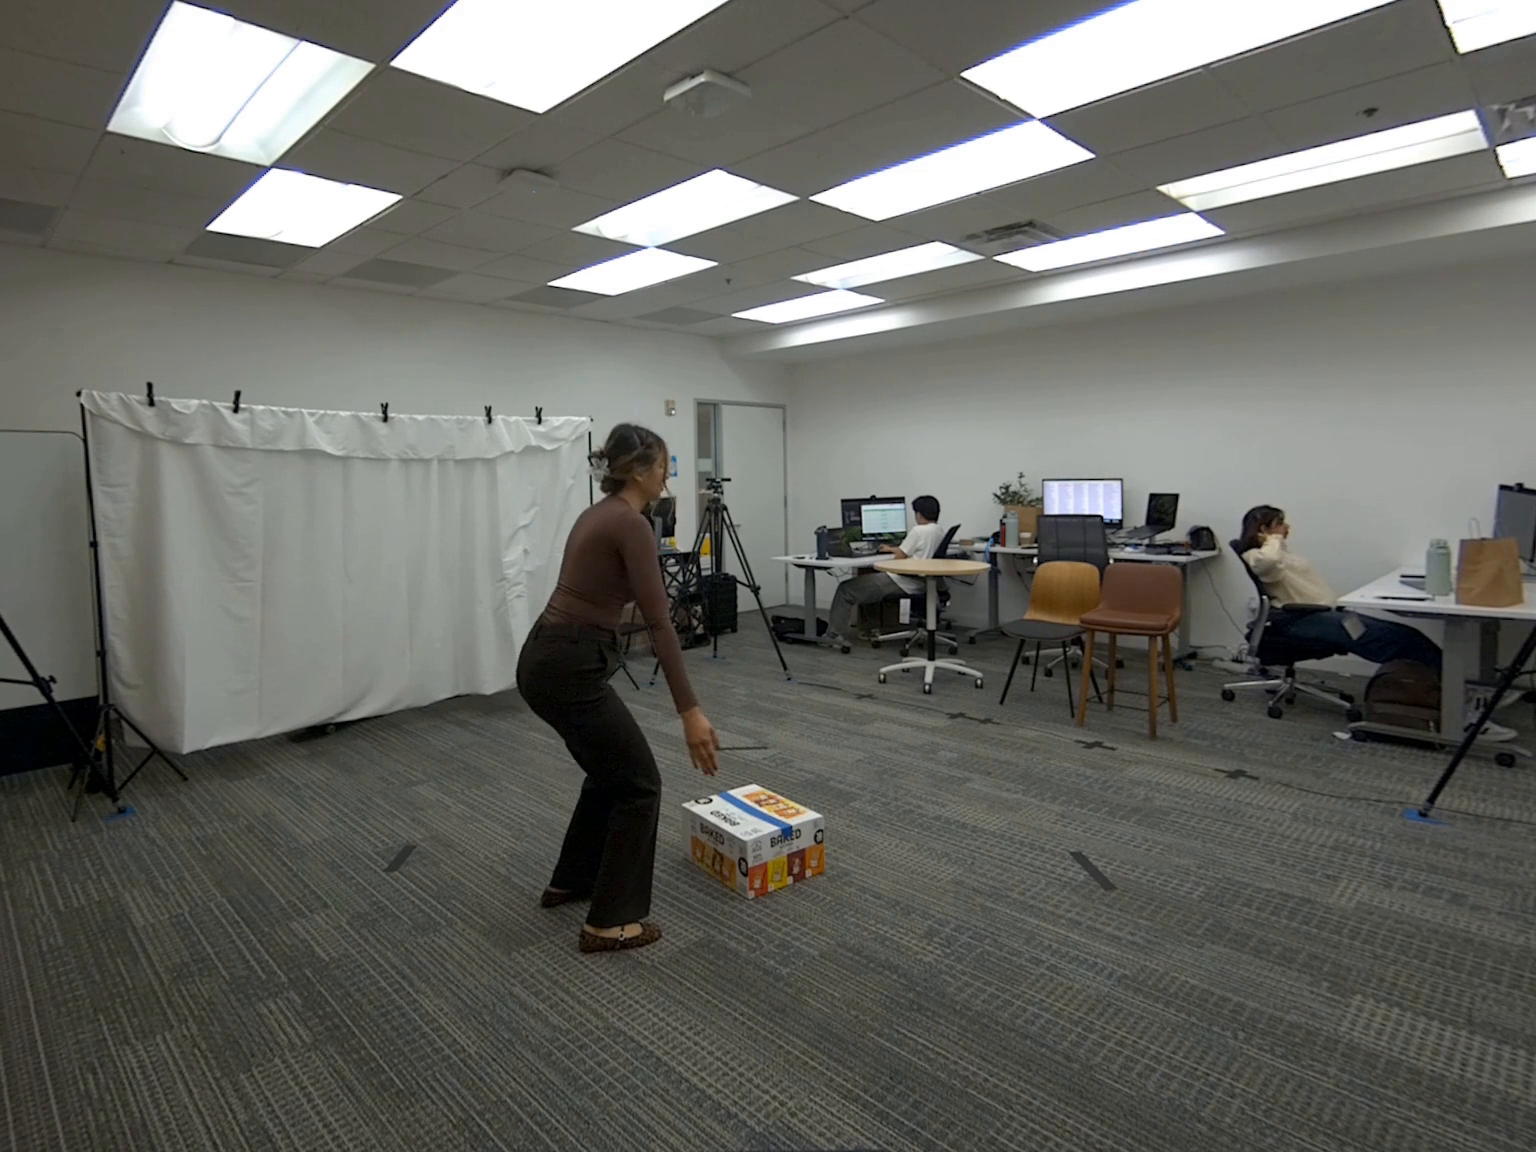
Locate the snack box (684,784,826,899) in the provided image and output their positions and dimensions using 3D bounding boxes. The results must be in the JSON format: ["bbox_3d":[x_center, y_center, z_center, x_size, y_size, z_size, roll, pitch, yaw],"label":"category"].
[{"bbox_3d":[-0.058,0.944,3.082,0.332,0.205,0.417,-5,7,-37],"label":"snack box"}]
